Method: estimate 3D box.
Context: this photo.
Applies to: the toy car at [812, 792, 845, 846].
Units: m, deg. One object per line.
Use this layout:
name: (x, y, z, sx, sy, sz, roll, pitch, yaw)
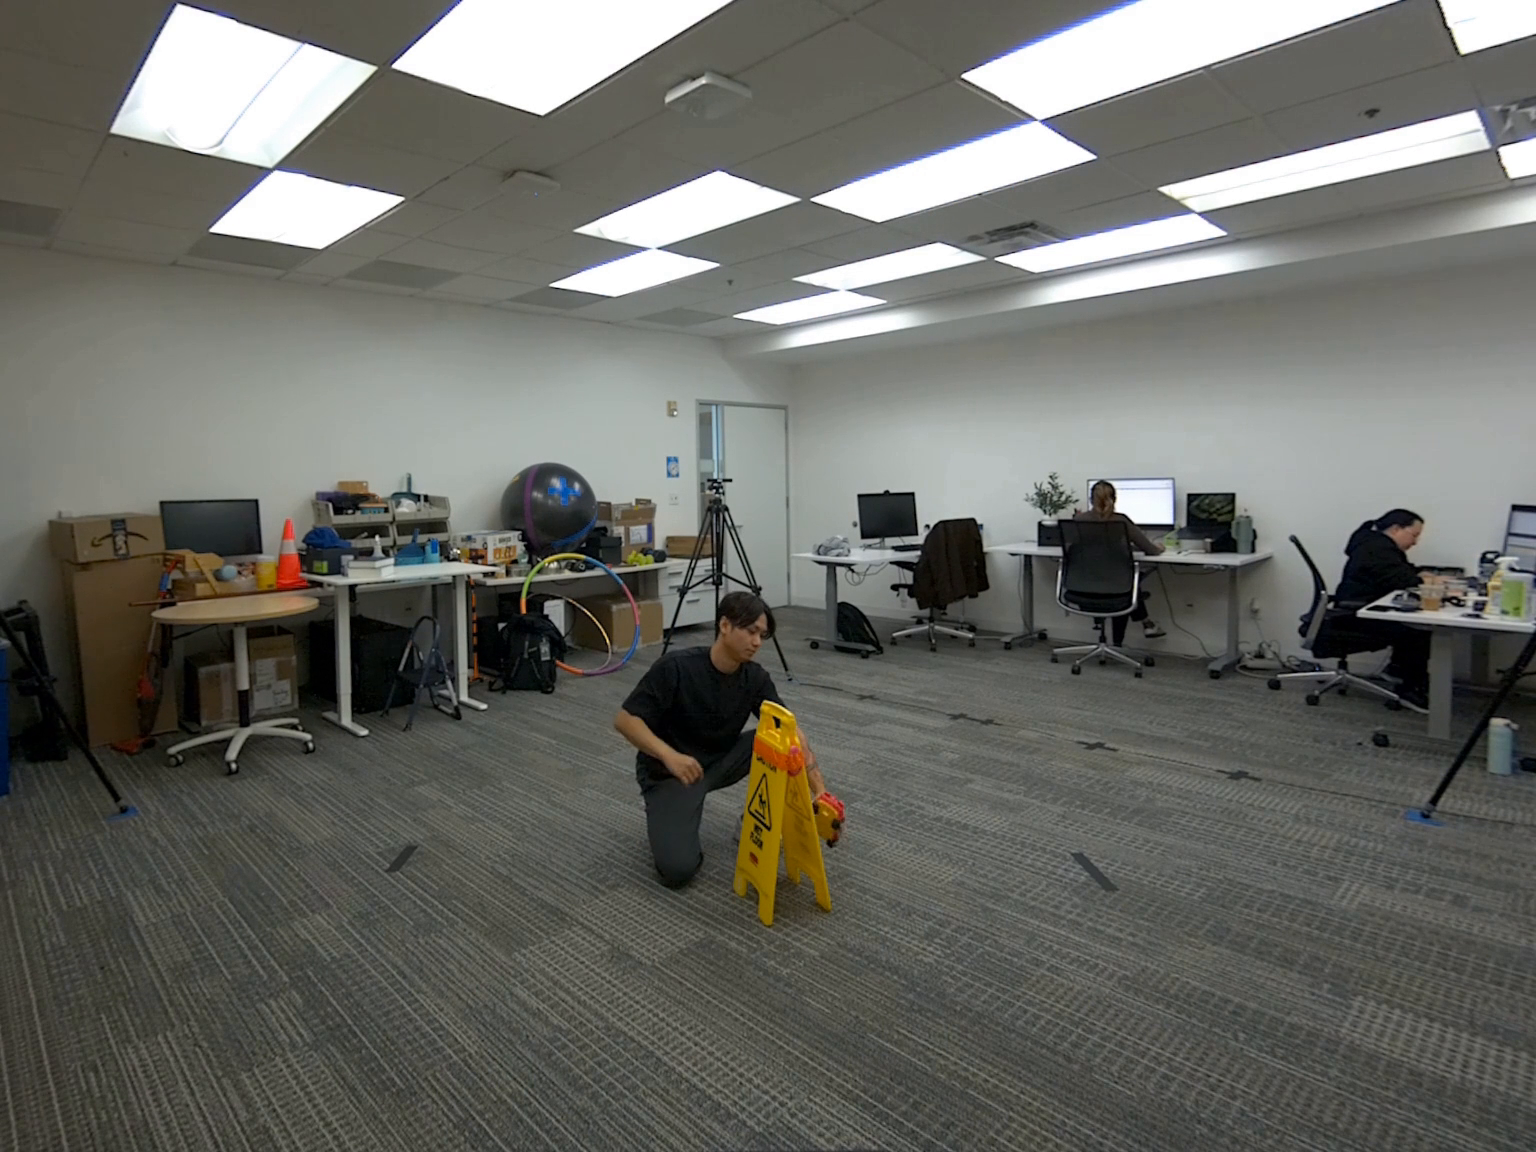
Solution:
toy car: (0.205, 0.821, 2.913, 0.134, 0.250, 0.082, 34, 41, 24)
